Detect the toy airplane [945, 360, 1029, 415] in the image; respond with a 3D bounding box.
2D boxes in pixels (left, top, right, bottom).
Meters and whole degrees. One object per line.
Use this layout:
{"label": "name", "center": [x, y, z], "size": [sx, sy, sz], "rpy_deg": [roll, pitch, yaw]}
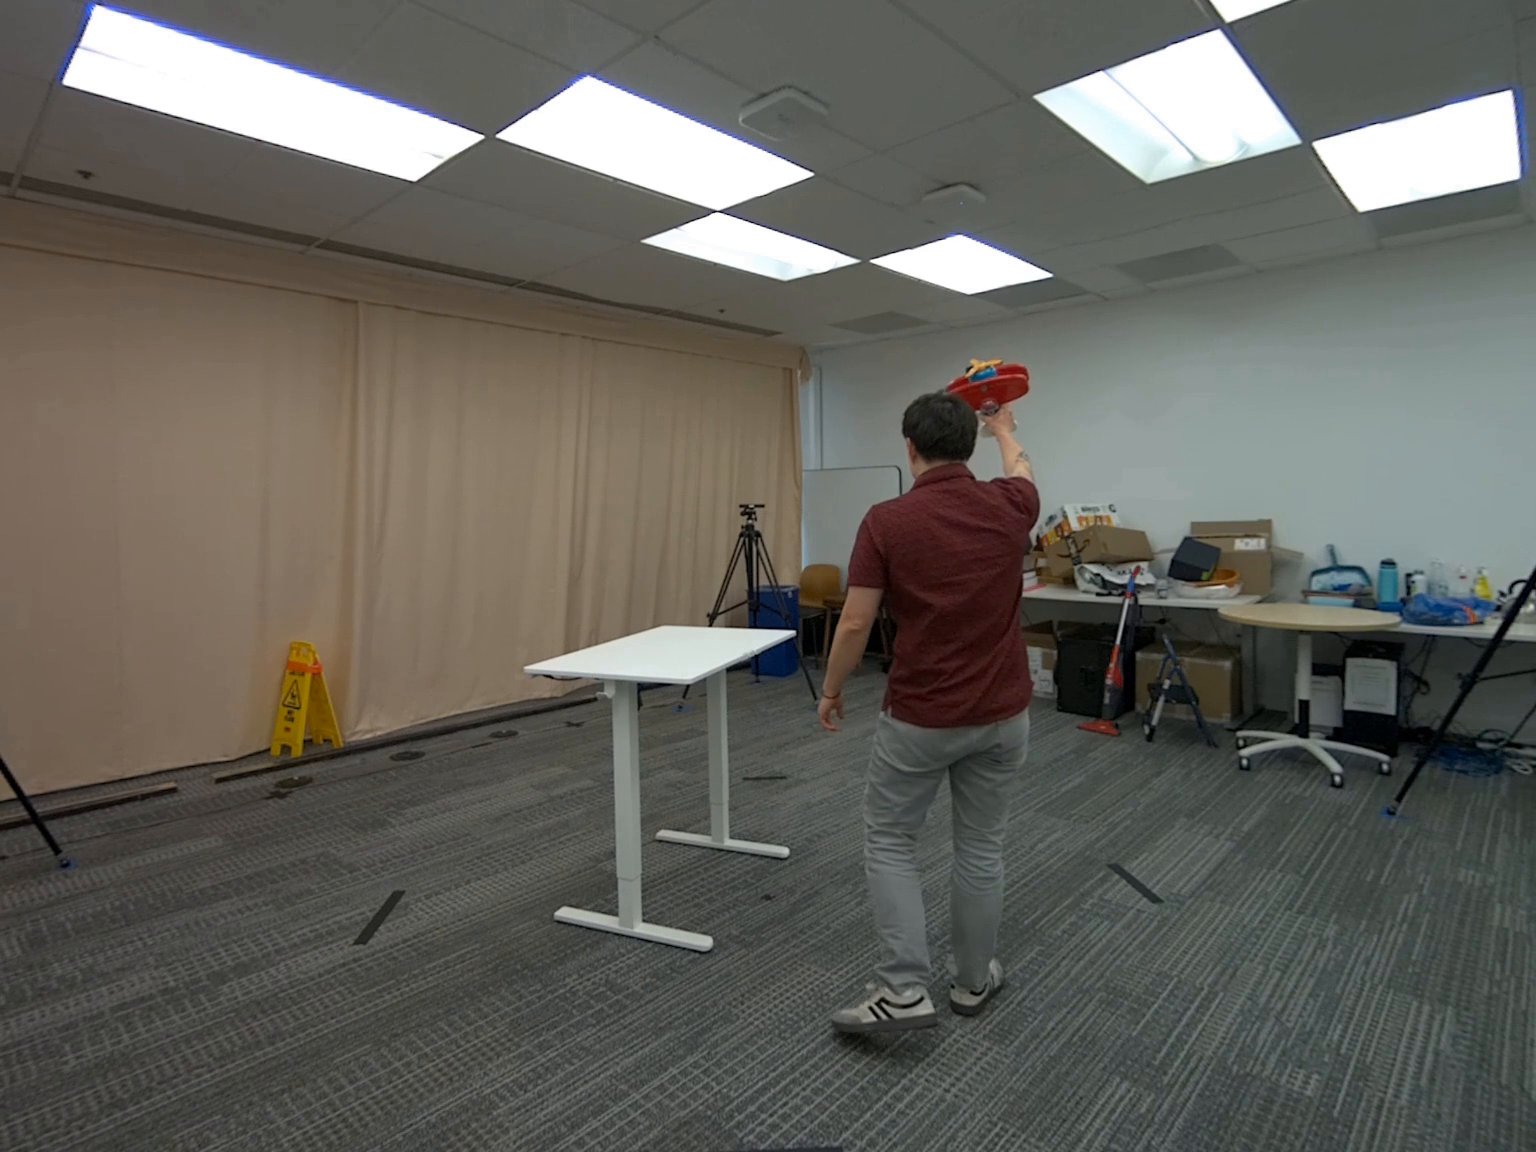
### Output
{"label": "toy airplane", "center": [0.735, -0.574, 2.701], "size": [0.253, 0.259, 0.155], "rpy_deg": [-42, 1, 29]}
